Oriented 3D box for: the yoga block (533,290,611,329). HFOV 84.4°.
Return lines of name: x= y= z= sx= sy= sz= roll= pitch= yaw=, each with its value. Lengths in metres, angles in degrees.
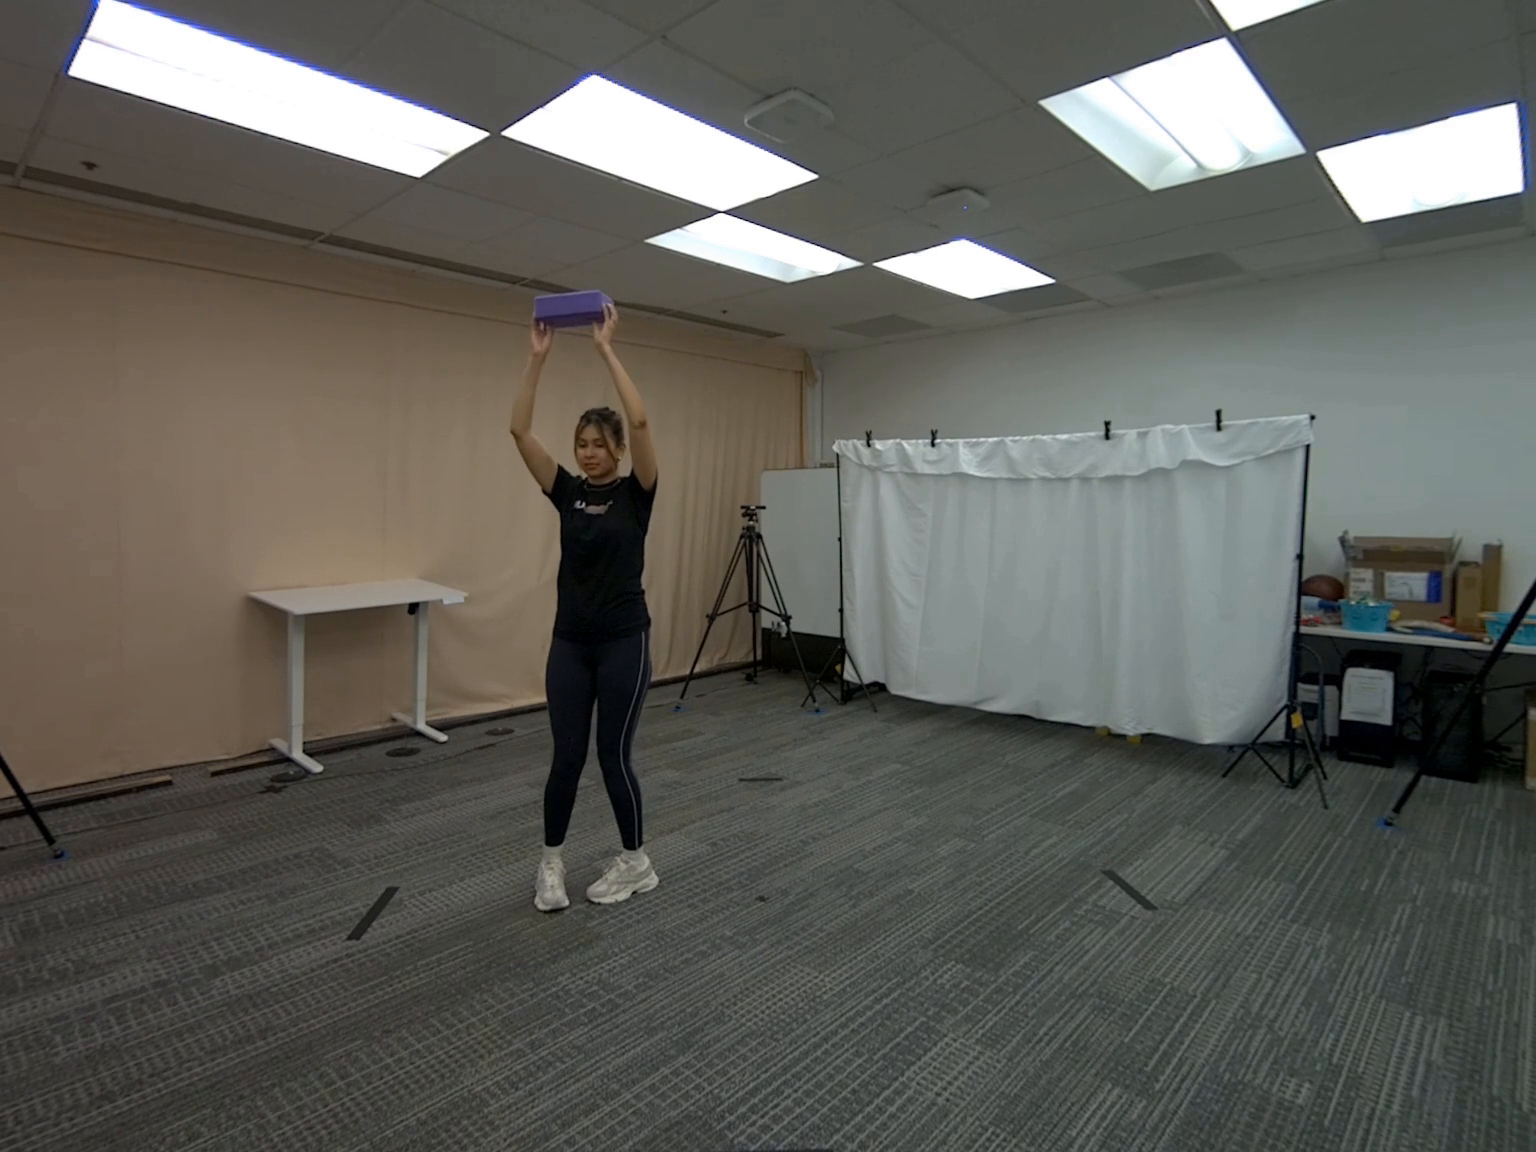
yoga block: x=-0.642 y=-0.881 z=2.767 sx=0.232 sy=0.076 sz=0.148 roll=-2 pitch=5 yaw=10
